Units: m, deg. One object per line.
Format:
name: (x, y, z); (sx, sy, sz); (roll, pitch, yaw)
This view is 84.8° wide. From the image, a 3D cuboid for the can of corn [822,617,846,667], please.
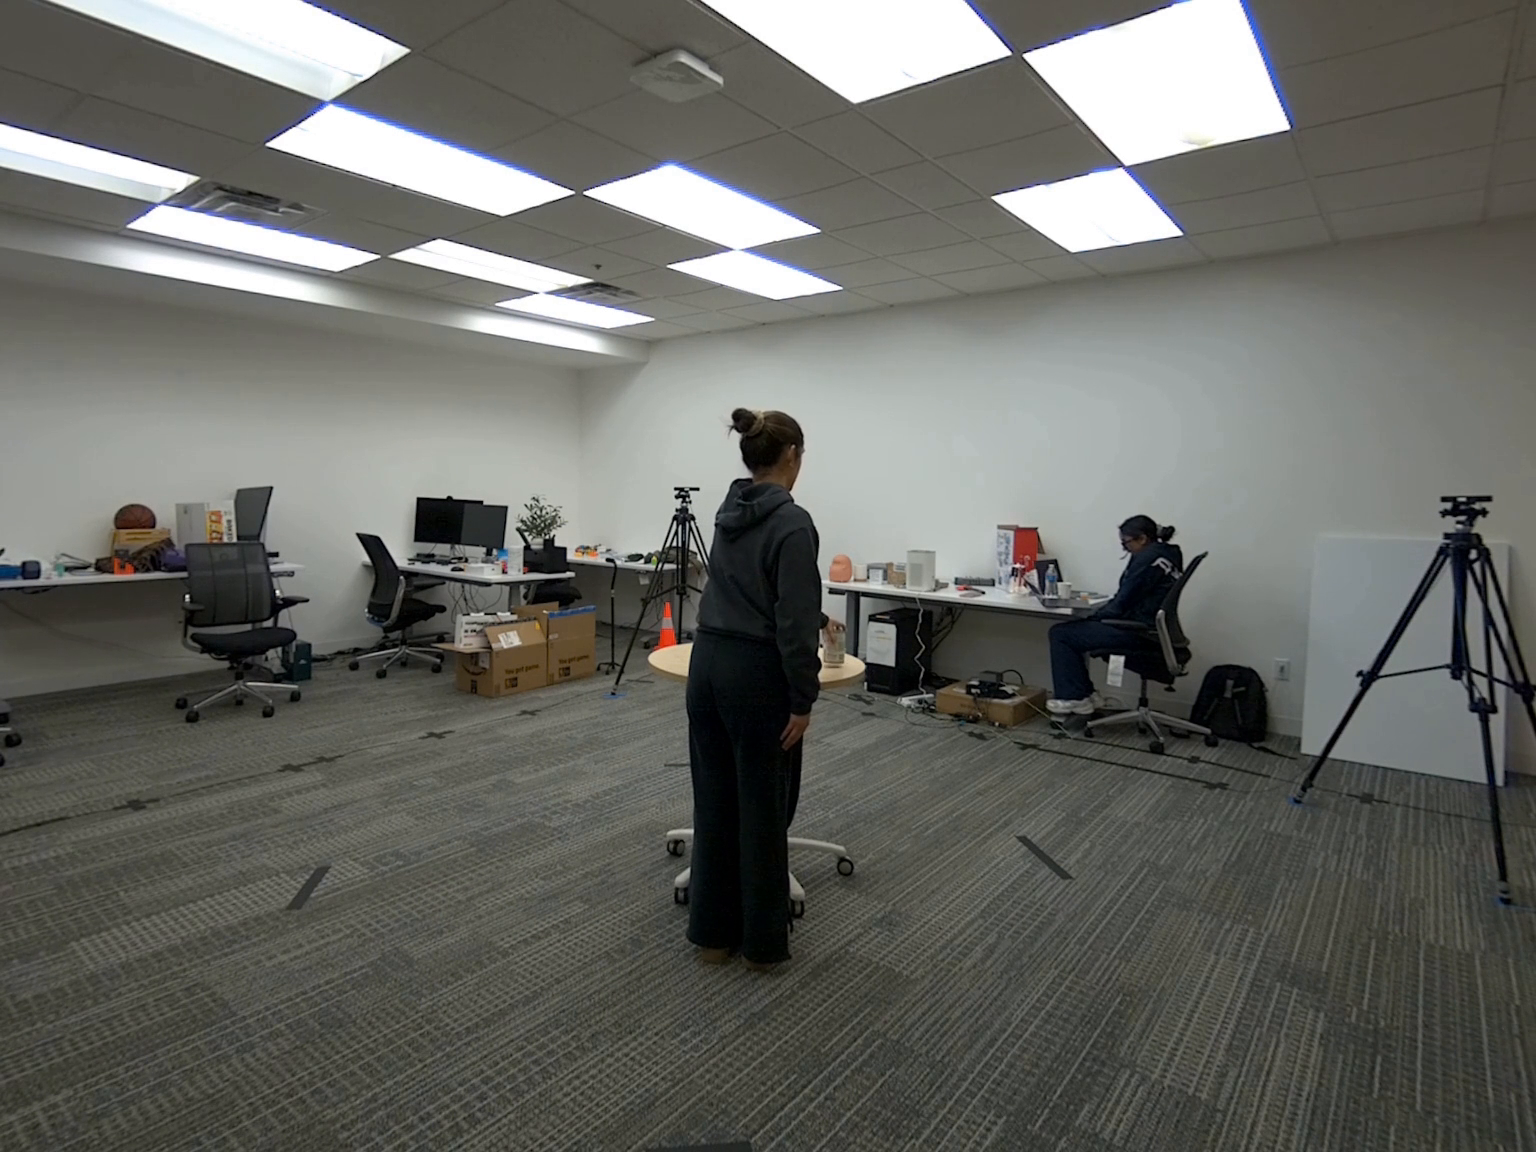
can of corn: (0.223, 0.236, 2.943); (0.074, 0.111, 0.074); (-1, 2, -2)
